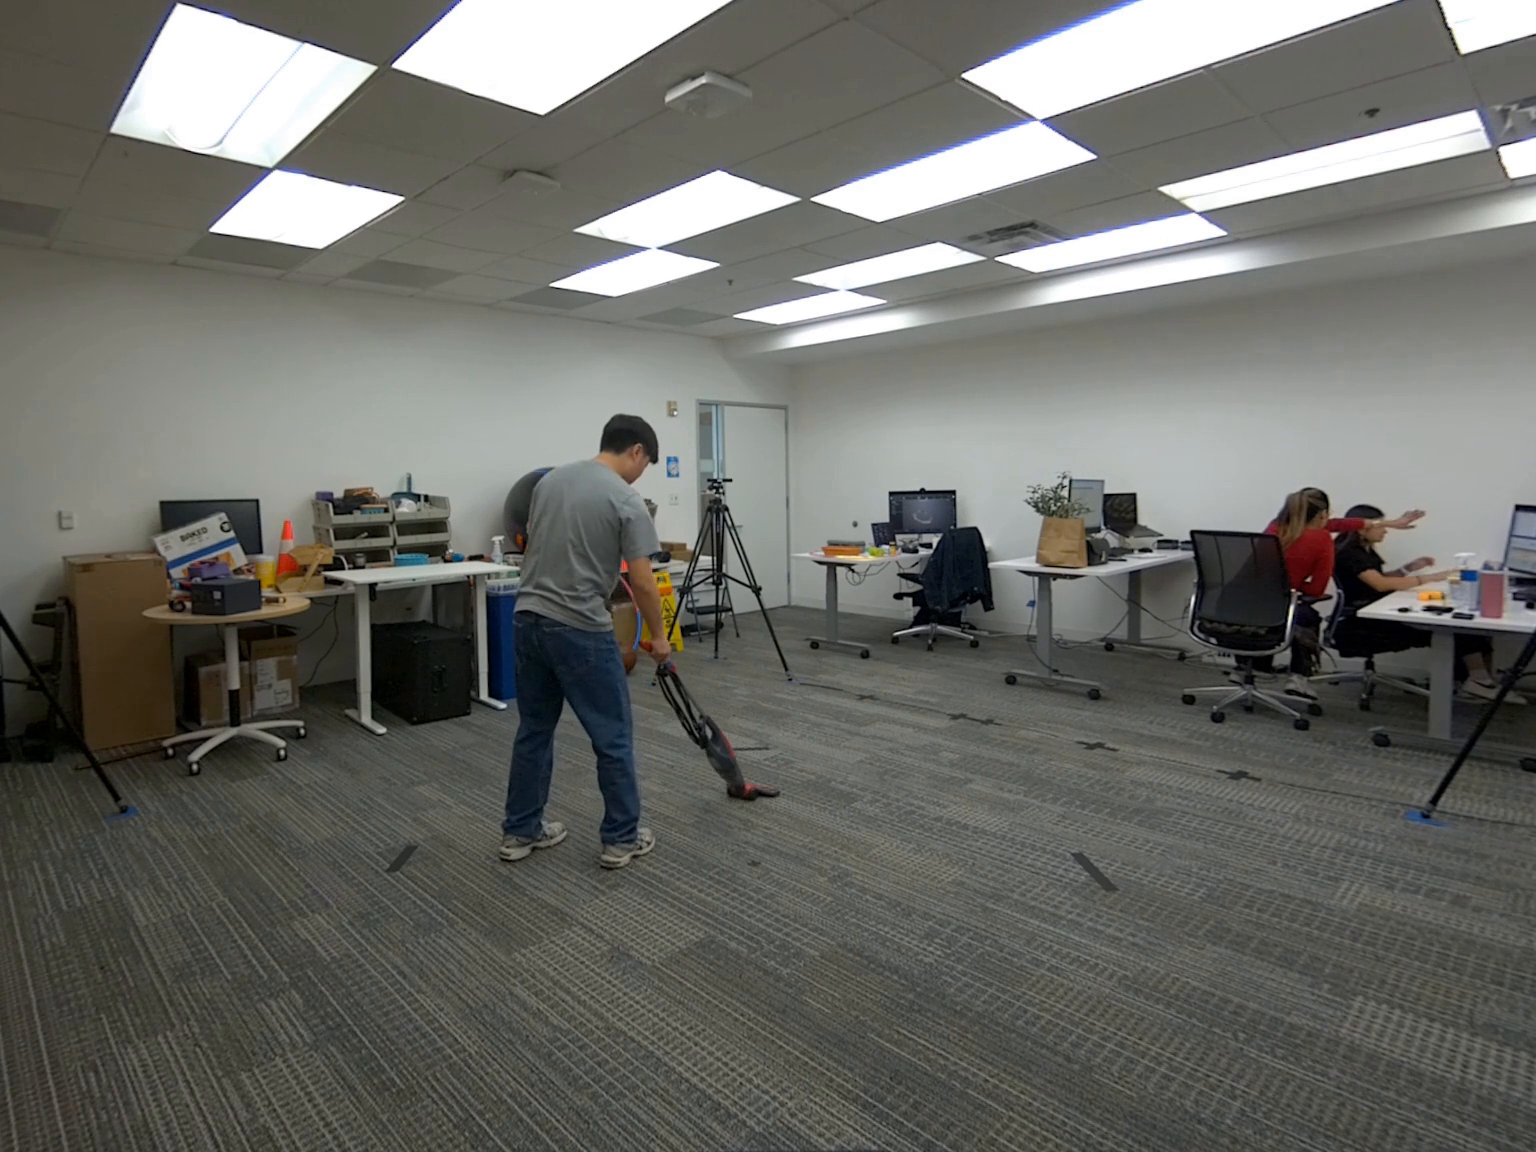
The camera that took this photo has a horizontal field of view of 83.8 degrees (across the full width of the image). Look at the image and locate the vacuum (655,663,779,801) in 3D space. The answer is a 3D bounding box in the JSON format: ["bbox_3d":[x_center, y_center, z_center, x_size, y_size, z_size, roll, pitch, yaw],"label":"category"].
[{"bbox_3d":[-0.278,0.610,3.490,0.259,1.012,0.145,1,46,31],"label":"vacuum"}]
